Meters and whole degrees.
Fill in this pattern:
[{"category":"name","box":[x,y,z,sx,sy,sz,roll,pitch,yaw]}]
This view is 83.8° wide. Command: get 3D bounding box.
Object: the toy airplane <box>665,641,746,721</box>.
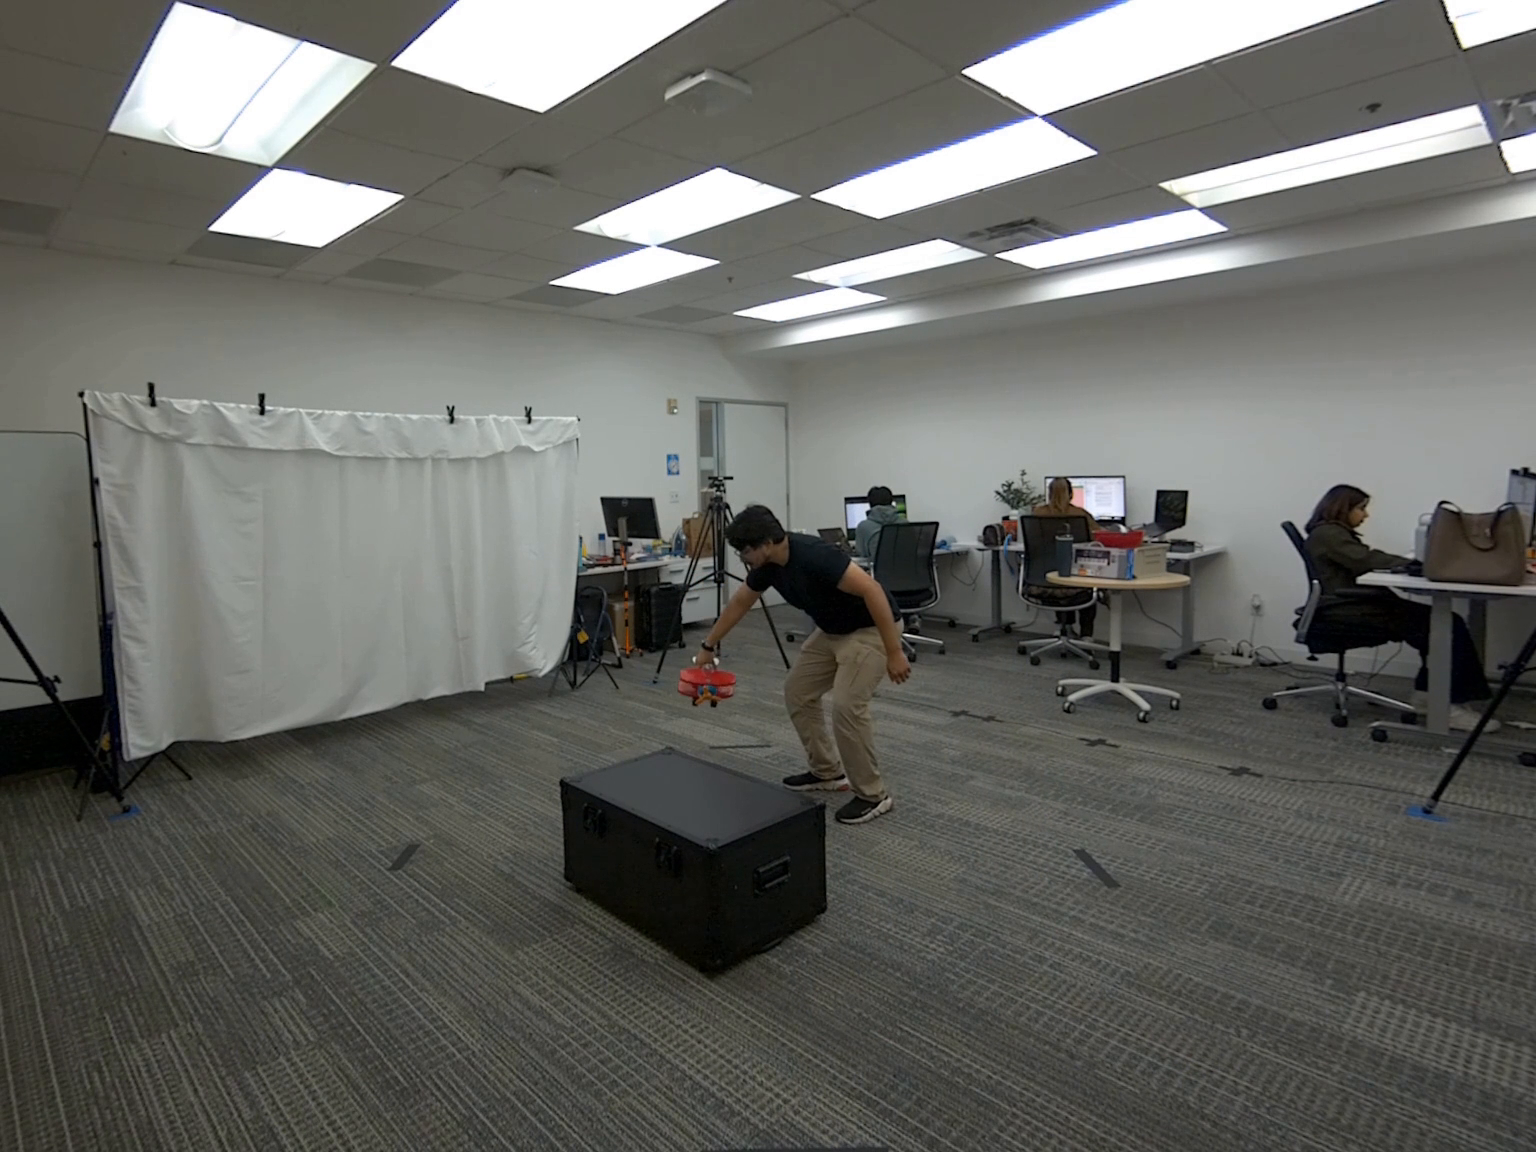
[{"category":"toy airplane","box":[-0.288,0.461,3.873,0.247,0.268,0.153,-16,-35,-24]}]
